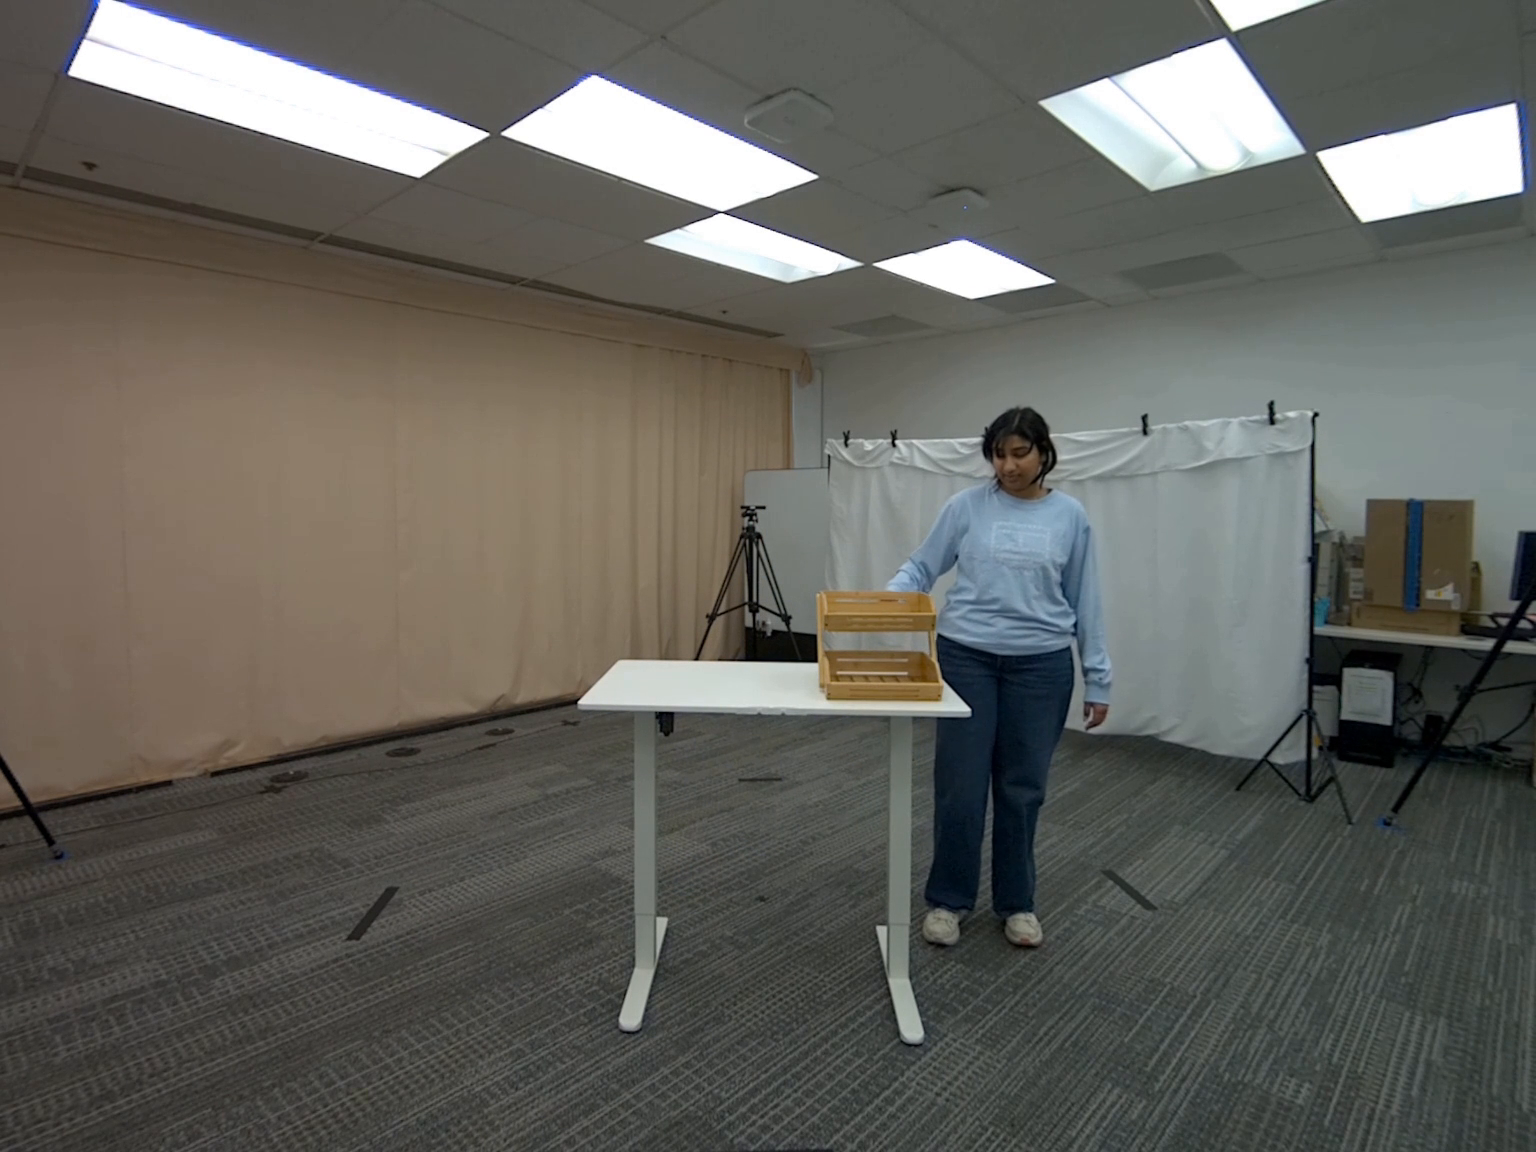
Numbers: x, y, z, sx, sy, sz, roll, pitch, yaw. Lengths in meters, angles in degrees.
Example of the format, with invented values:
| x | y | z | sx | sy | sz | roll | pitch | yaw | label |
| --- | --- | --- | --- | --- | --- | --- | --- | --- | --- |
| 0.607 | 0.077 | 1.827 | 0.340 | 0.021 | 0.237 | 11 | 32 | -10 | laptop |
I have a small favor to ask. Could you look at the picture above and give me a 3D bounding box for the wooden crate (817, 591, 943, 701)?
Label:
| x | y | z | sx | sy | sz | roll | pitch | yaw | label |
| --- | --- | --- | --- | --- | --- | --- | --- | --- | --- |
| 0.313 | 0.185 | 2.325 | 0.325 | 0.273 | 0.302 | 0 | 2 | 0 | wooden crate |
